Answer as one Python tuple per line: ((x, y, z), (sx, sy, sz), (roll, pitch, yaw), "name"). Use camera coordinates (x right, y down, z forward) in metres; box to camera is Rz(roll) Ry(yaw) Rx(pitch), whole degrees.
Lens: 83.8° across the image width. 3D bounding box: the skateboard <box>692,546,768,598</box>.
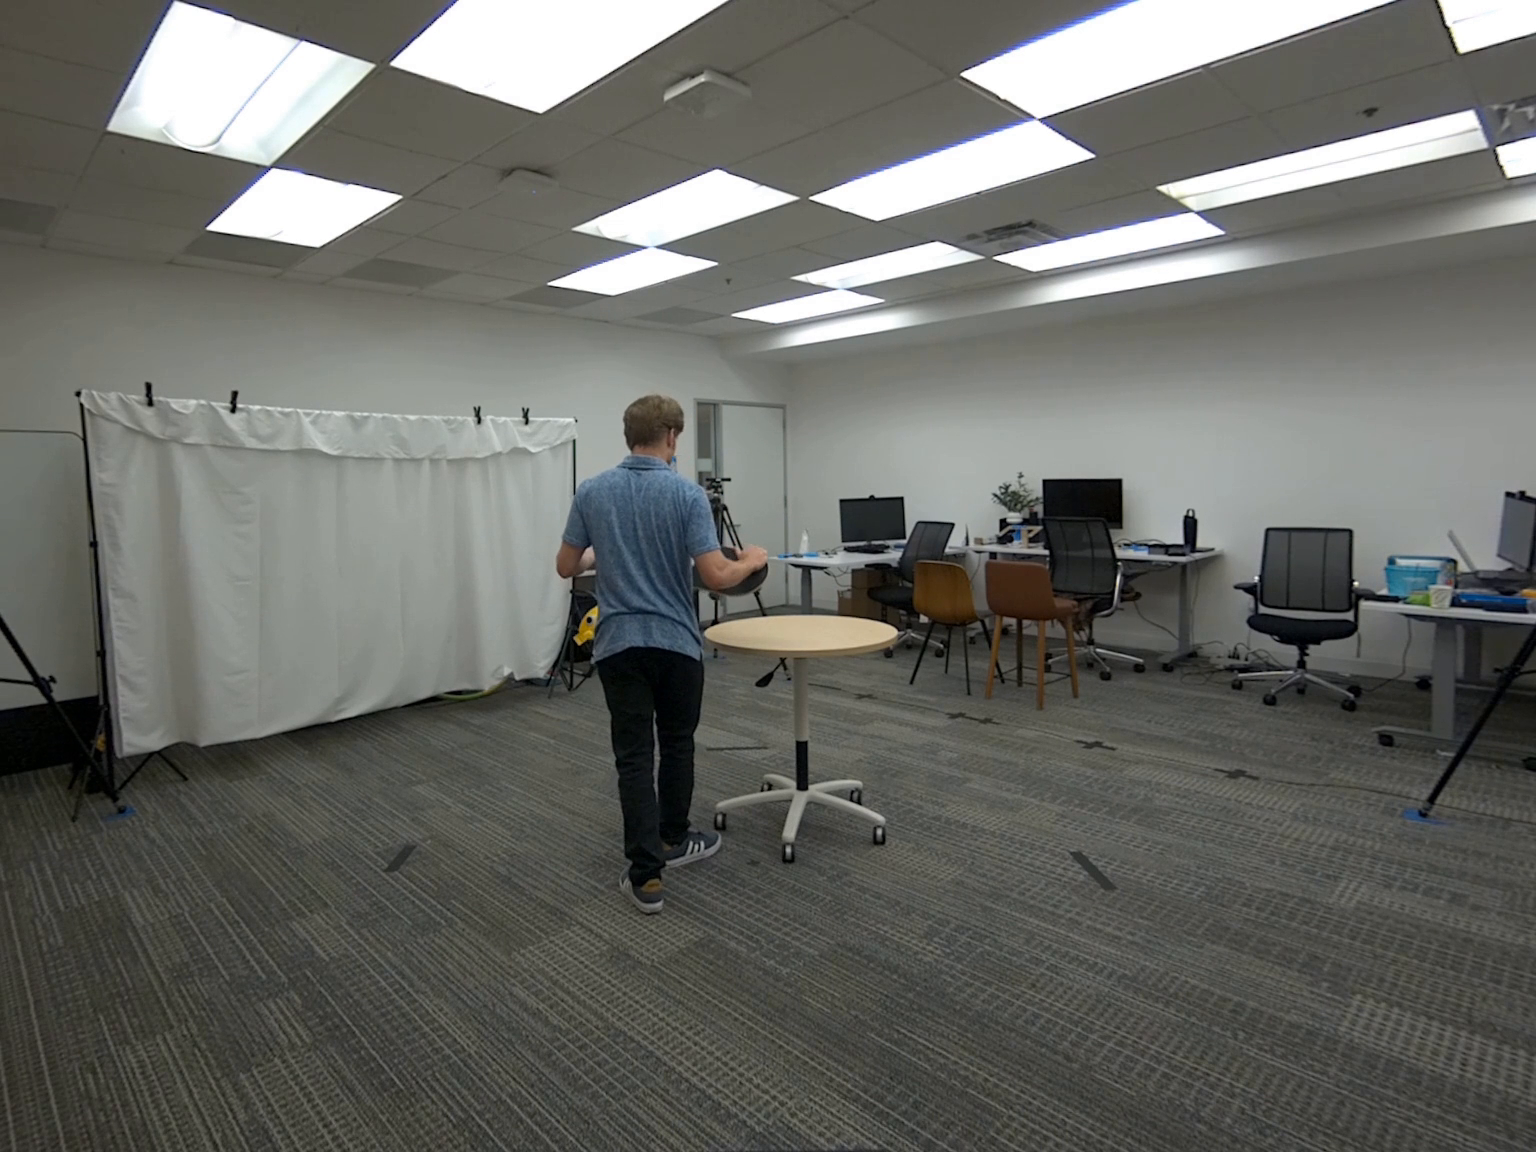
((-0.342, -0.048, 3.197), (0.806, 0.195, 0.106), (13, -29, 25), "skateboard")
